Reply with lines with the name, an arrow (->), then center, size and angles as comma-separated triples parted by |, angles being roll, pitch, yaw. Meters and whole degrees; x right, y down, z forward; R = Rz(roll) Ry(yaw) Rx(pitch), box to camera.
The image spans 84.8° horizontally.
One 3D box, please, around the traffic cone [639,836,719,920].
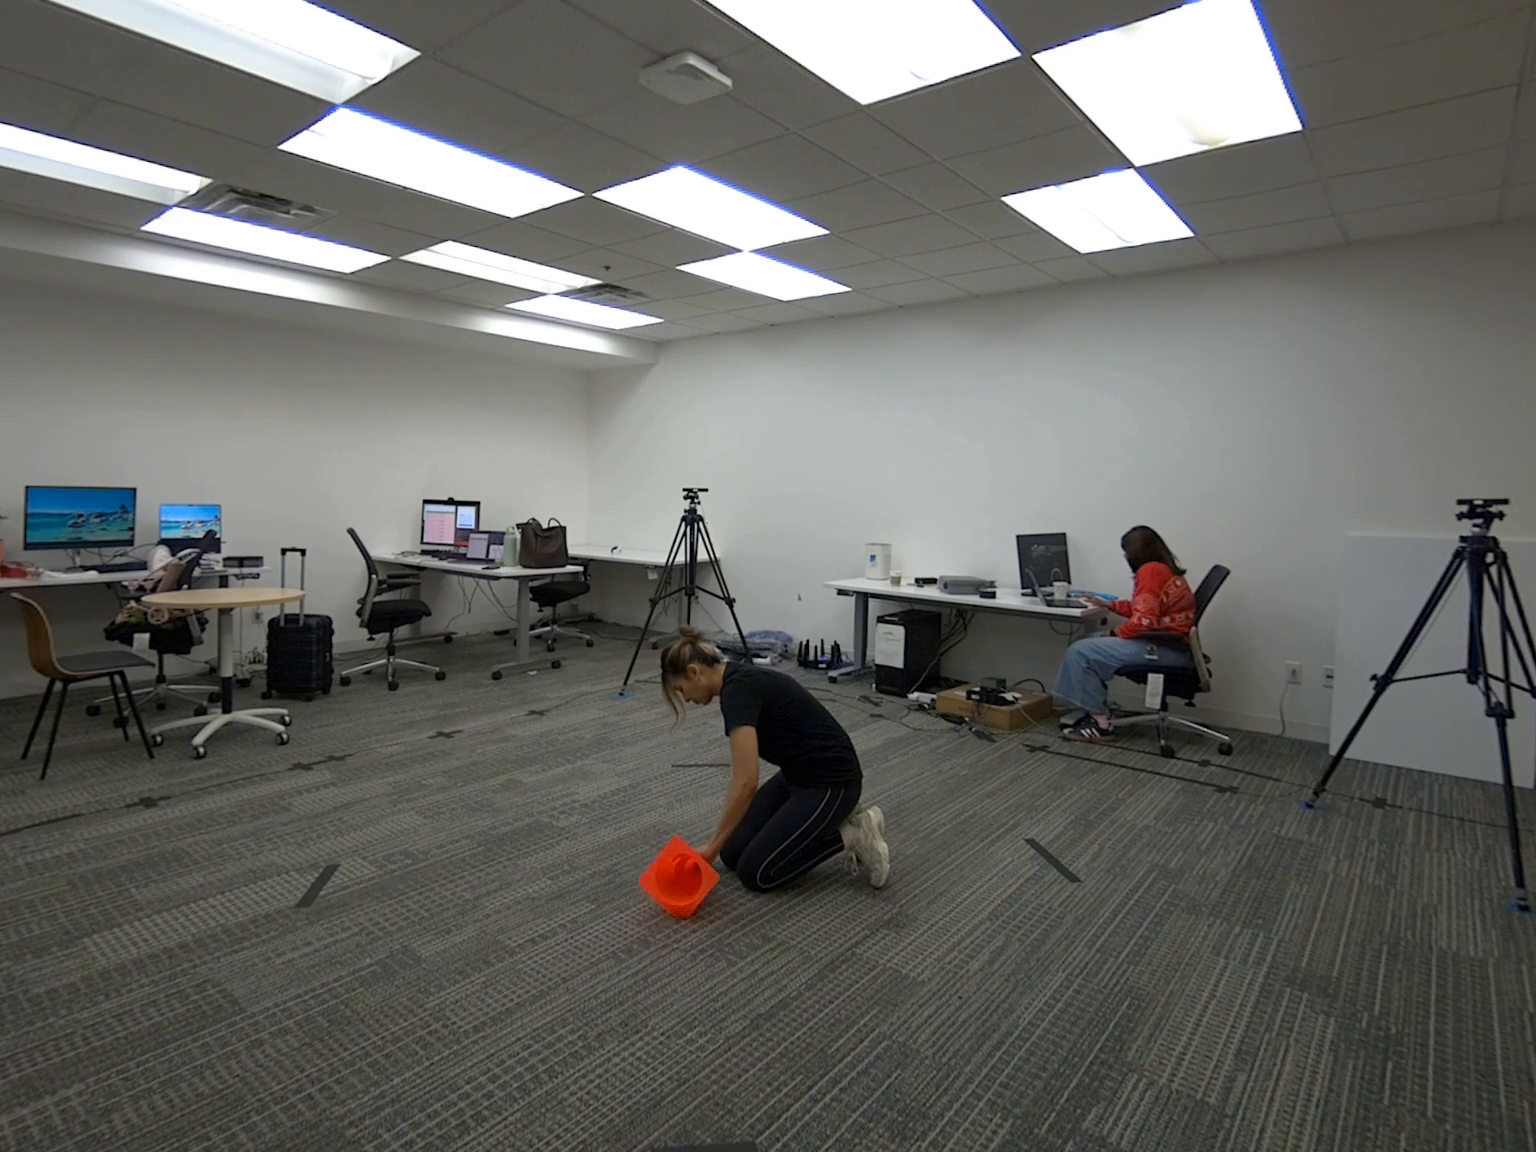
traffic cone -> -0.260, 1.005, 2.933 | 0.208, 0.205, 0.375 | 39, -1, 15
